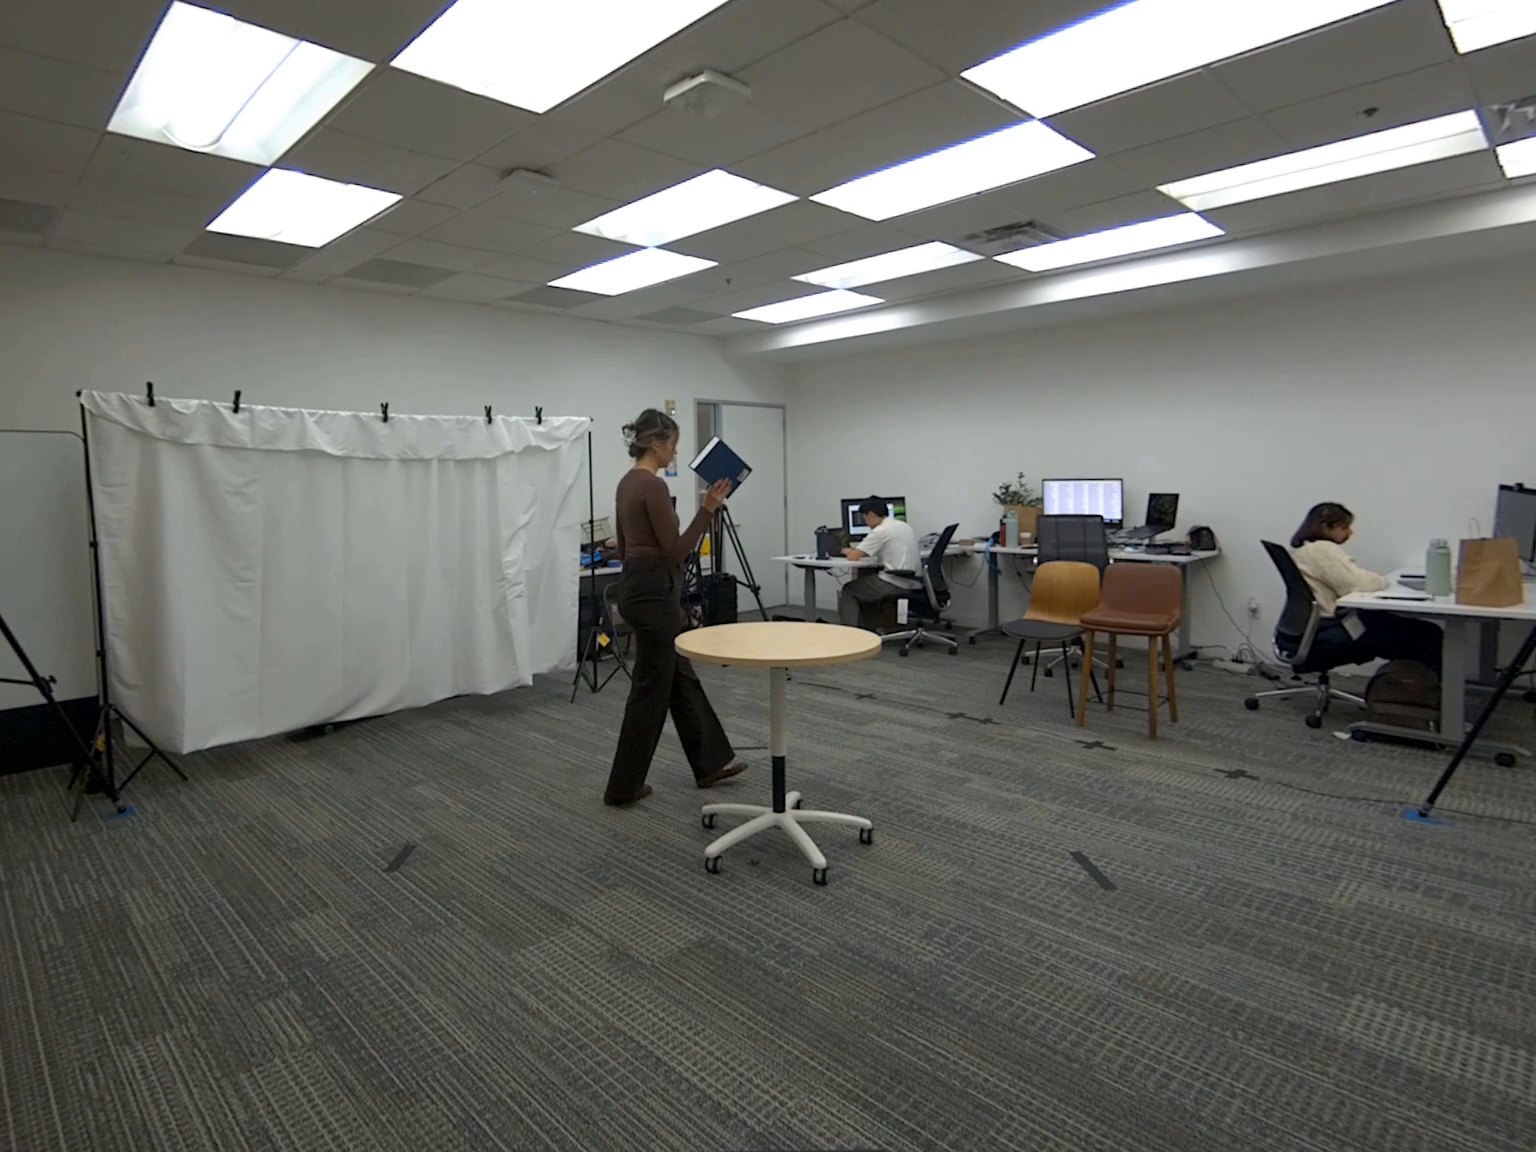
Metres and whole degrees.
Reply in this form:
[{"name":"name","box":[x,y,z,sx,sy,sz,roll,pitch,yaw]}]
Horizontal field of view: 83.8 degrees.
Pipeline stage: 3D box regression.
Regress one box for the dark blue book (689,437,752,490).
[{"name":"dark blue book","box":[-0.188,-0.437,3.440,0.235,0.163,0.047,39,3,-47]}]
